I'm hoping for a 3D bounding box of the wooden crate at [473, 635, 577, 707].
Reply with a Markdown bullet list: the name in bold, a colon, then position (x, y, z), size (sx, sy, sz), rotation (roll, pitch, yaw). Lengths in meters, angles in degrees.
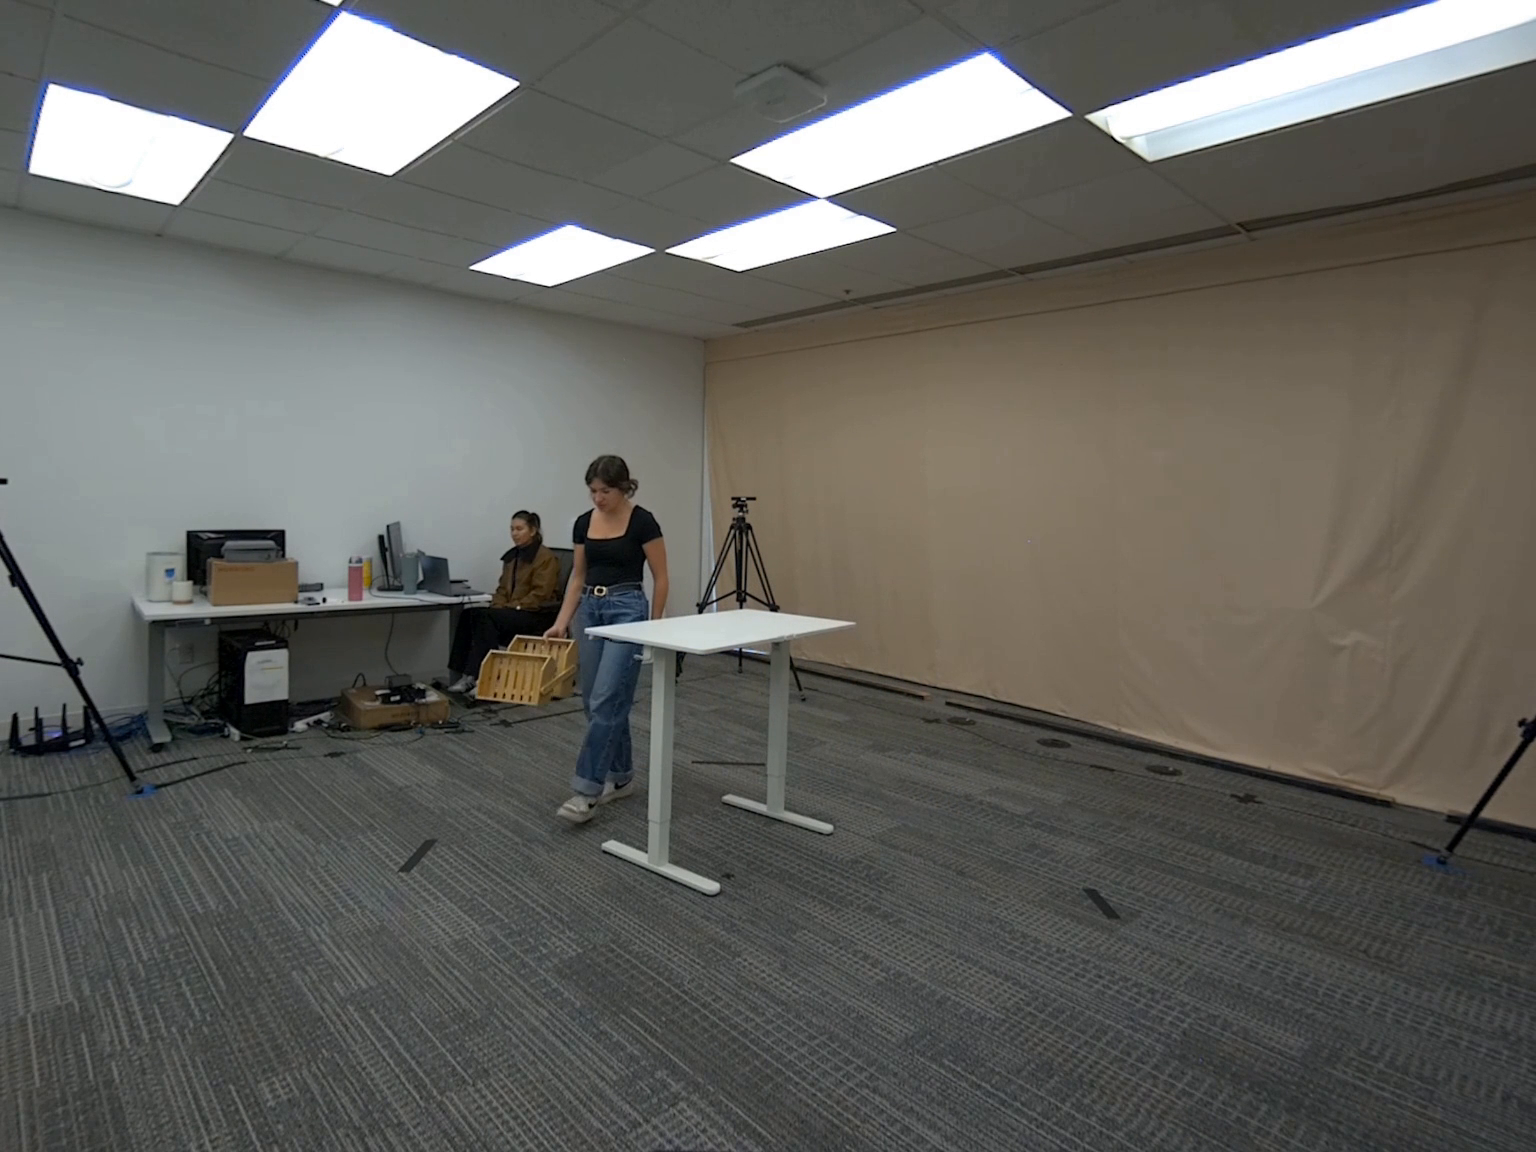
- **wooden crate**: position (-1.059, 0.411, 3.607), size (0.329, 0.305, 0.267), rotation (1, -14, 18)
